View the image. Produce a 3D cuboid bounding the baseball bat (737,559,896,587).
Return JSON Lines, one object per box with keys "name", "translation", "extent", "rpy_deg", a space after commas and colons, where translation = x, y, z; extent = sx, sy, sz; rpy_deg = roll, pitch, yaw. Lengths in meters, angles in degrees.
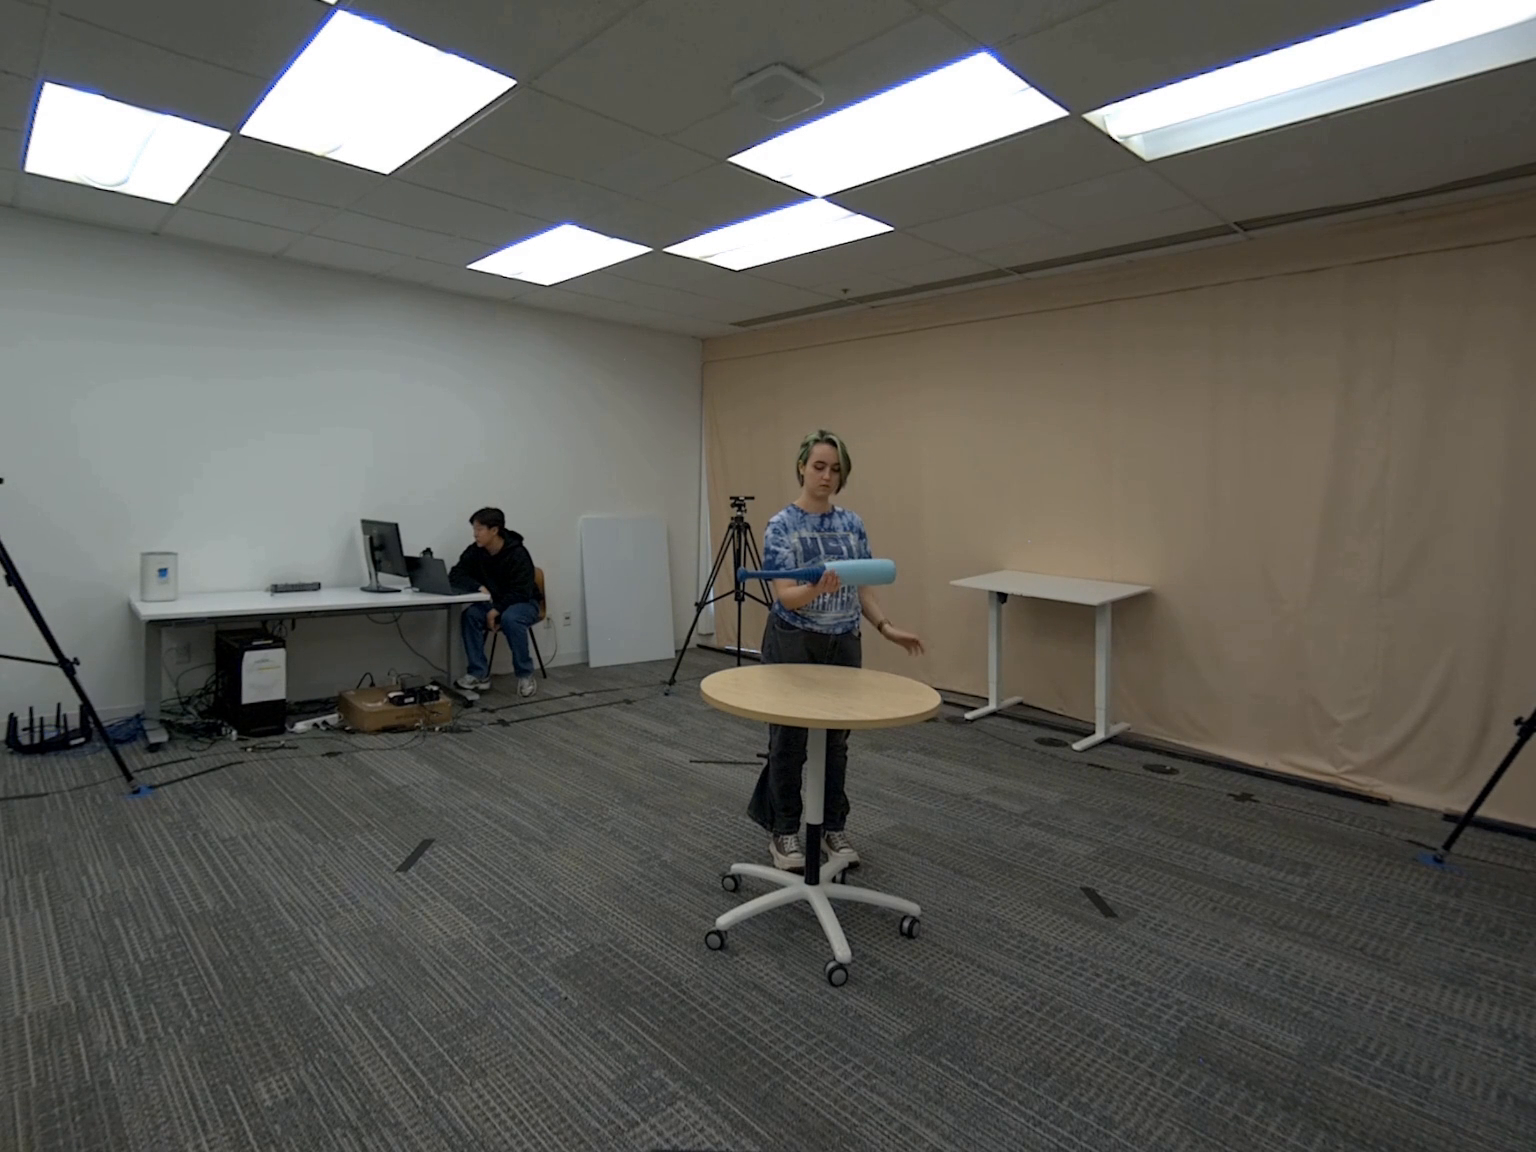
{"name": "baseball bat", "translation": [0.154, -0.006, 2.791], "extent": [0.537, 0.089, 0.090], "rpy_deg": [-1, 5, -13]}
